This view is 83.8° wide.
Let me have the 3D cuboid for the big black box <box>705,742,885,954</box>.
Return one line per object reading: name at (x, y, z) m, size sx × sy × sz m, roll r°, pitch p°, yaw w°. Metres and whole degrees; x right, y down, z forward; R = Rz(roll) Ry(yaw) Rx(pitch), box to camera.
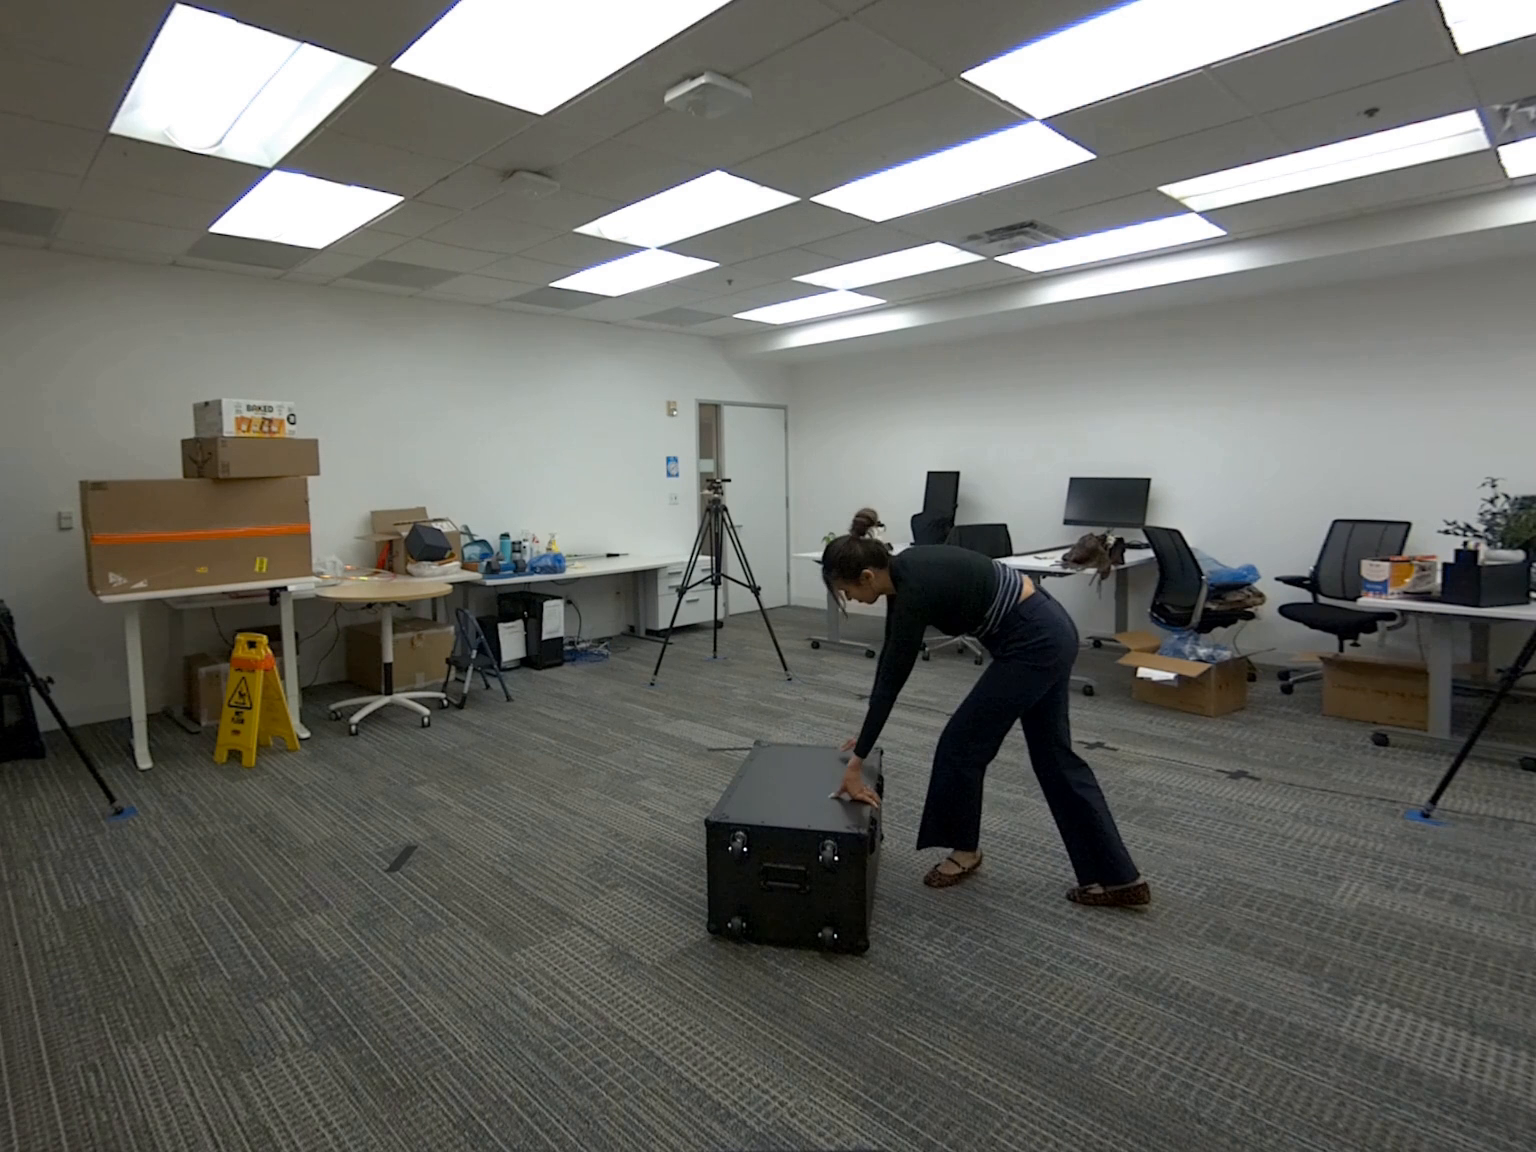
big black box at (0.111, 0.876, 2.863) m, size 0.528 × 0.394 × 0.854 m, roll 1°, pitch 6°, yaw 12°
